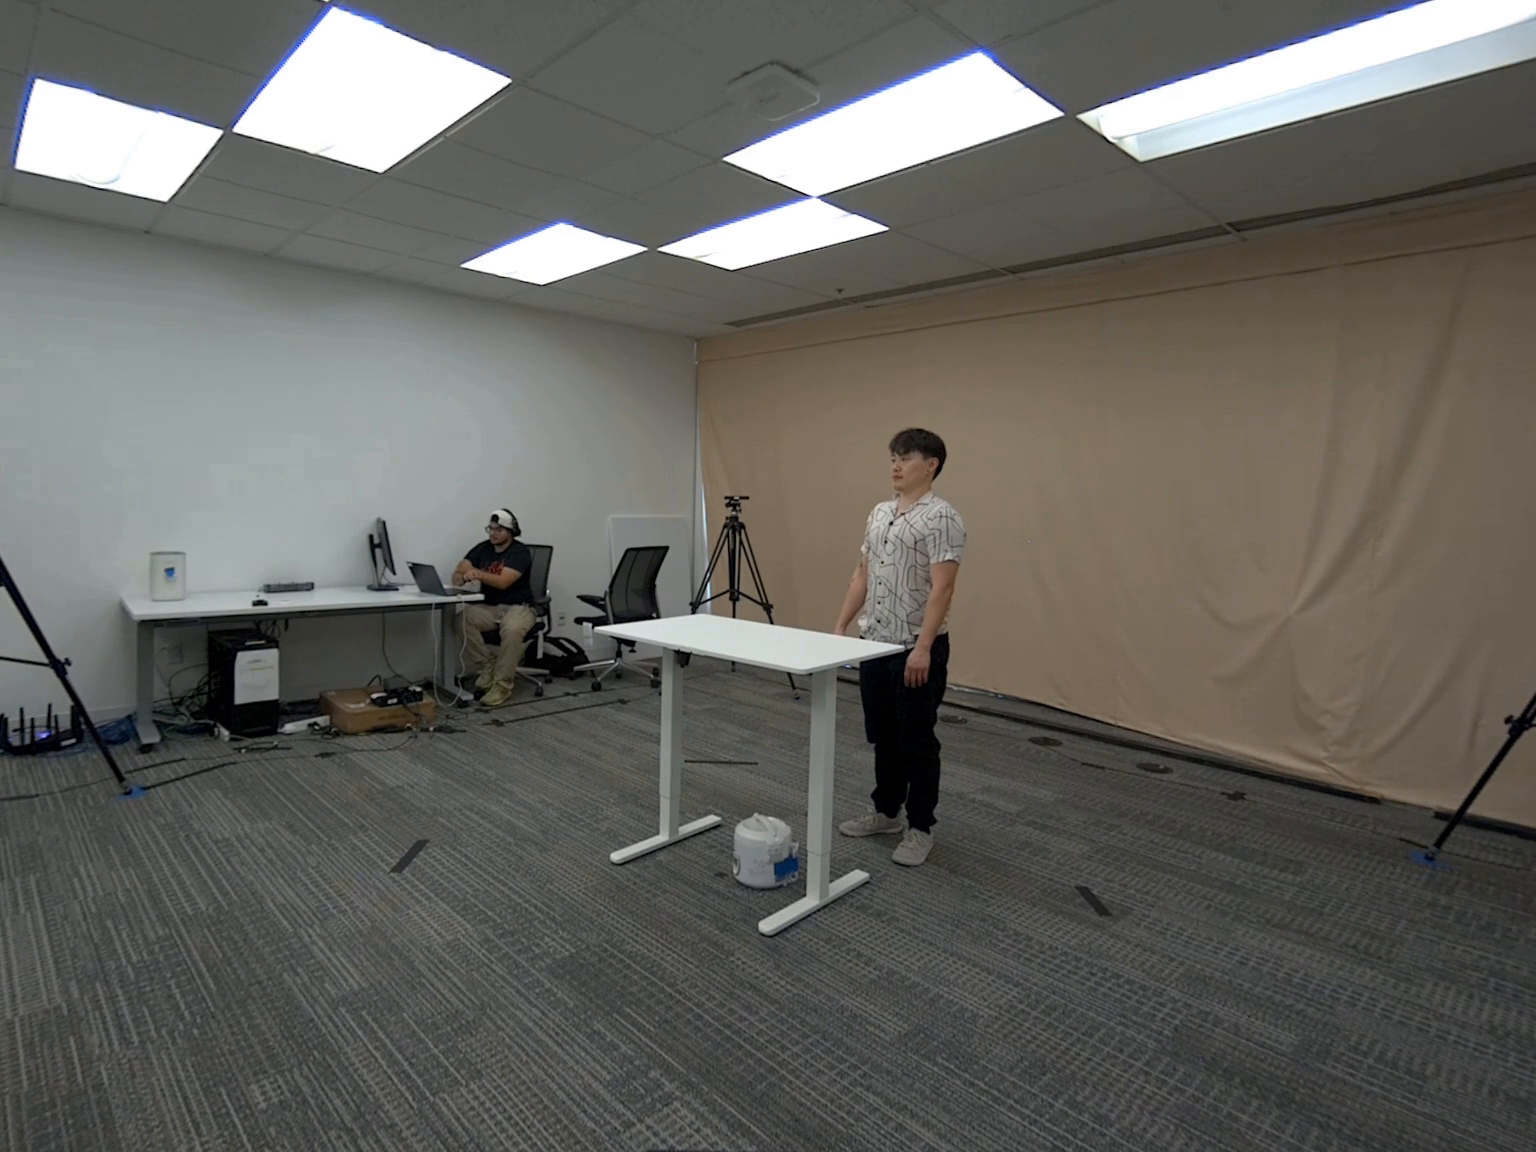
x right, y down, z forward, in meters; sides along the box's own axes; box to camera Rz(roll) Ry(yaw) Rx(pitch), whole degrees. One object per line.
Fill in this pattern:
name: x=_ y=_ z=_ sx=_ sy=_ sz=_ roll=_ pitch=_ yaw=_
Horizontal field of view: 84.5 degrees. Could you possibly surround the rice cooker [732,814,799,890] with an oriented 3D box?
rice cooker: x=-0.029 y=0.993 z=3.066 sx=0.214 sy=0.232 sz=0.225 roll=0 pitch=4 yaw=-24
